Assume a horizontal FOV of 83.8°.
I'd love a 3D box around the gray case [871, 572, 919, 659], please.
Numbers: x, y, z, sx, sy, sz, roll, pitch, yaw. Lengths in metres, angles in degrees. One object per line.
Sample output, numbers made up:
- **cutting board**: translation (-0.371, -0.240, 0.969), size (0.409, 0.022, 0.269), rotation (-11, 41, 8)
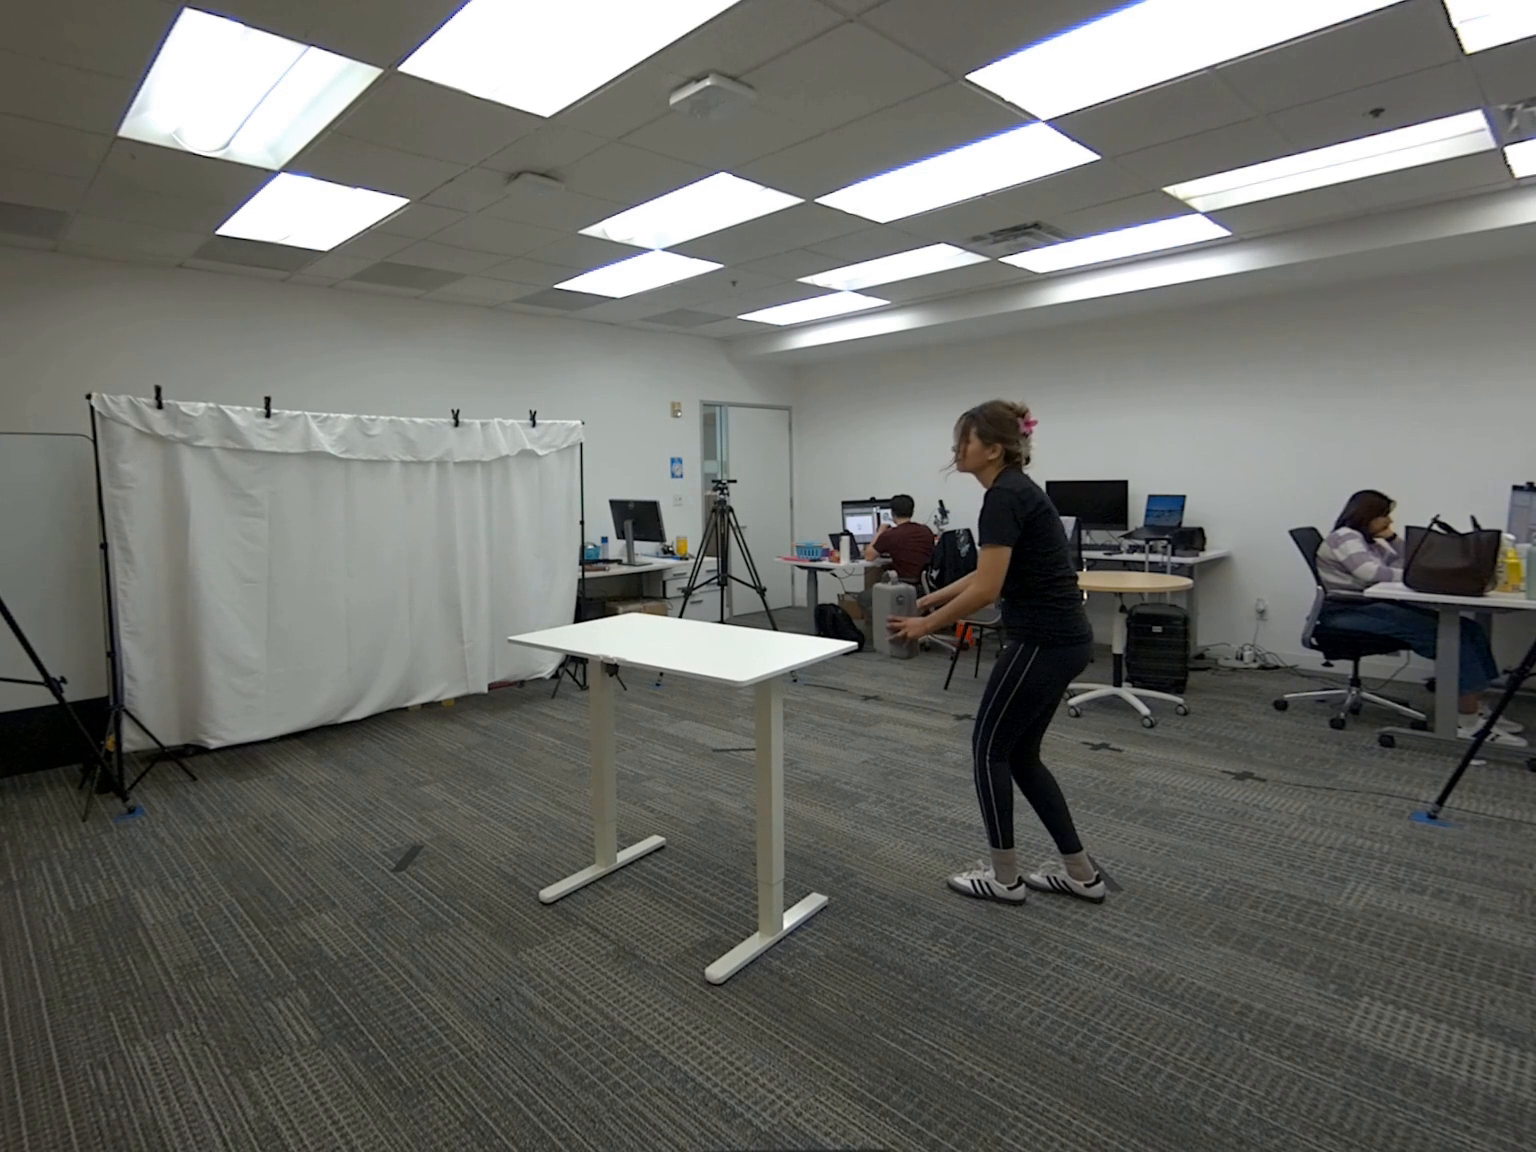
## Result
- **gray case**: translation (0.448, 0.152, 3.005), size (0.104, 0.261, 0.257), rotation (-2, -1, -4)
